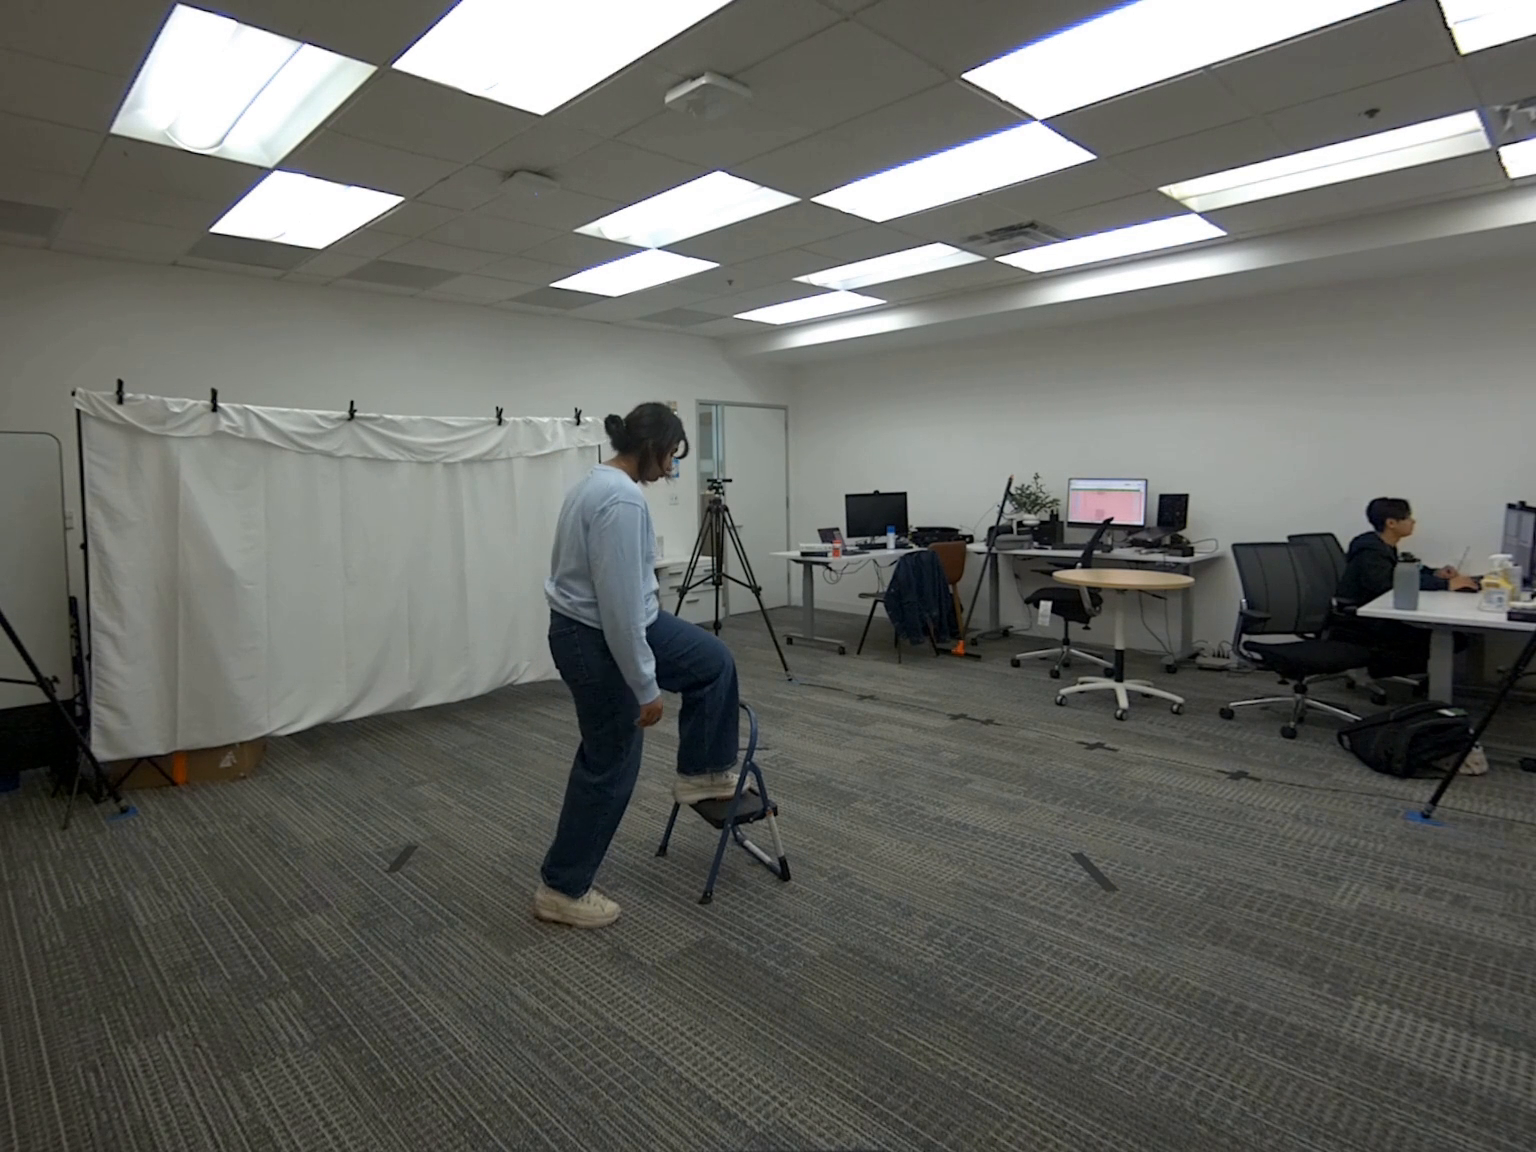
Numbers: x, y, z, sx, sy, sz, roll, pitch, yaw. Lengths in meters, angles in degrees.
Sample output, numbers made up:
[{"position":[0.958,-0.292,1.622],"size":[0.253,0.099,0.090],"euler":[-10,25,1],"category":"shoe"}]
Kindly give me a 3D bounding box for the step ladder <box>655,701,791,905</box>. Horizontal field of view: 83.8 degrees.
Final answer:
[{"position":[-0.169,0.751,3.059],"size":[0.341,0.604,0.442],"euler":[-3,5,-28],"category":"step ladder"}]
